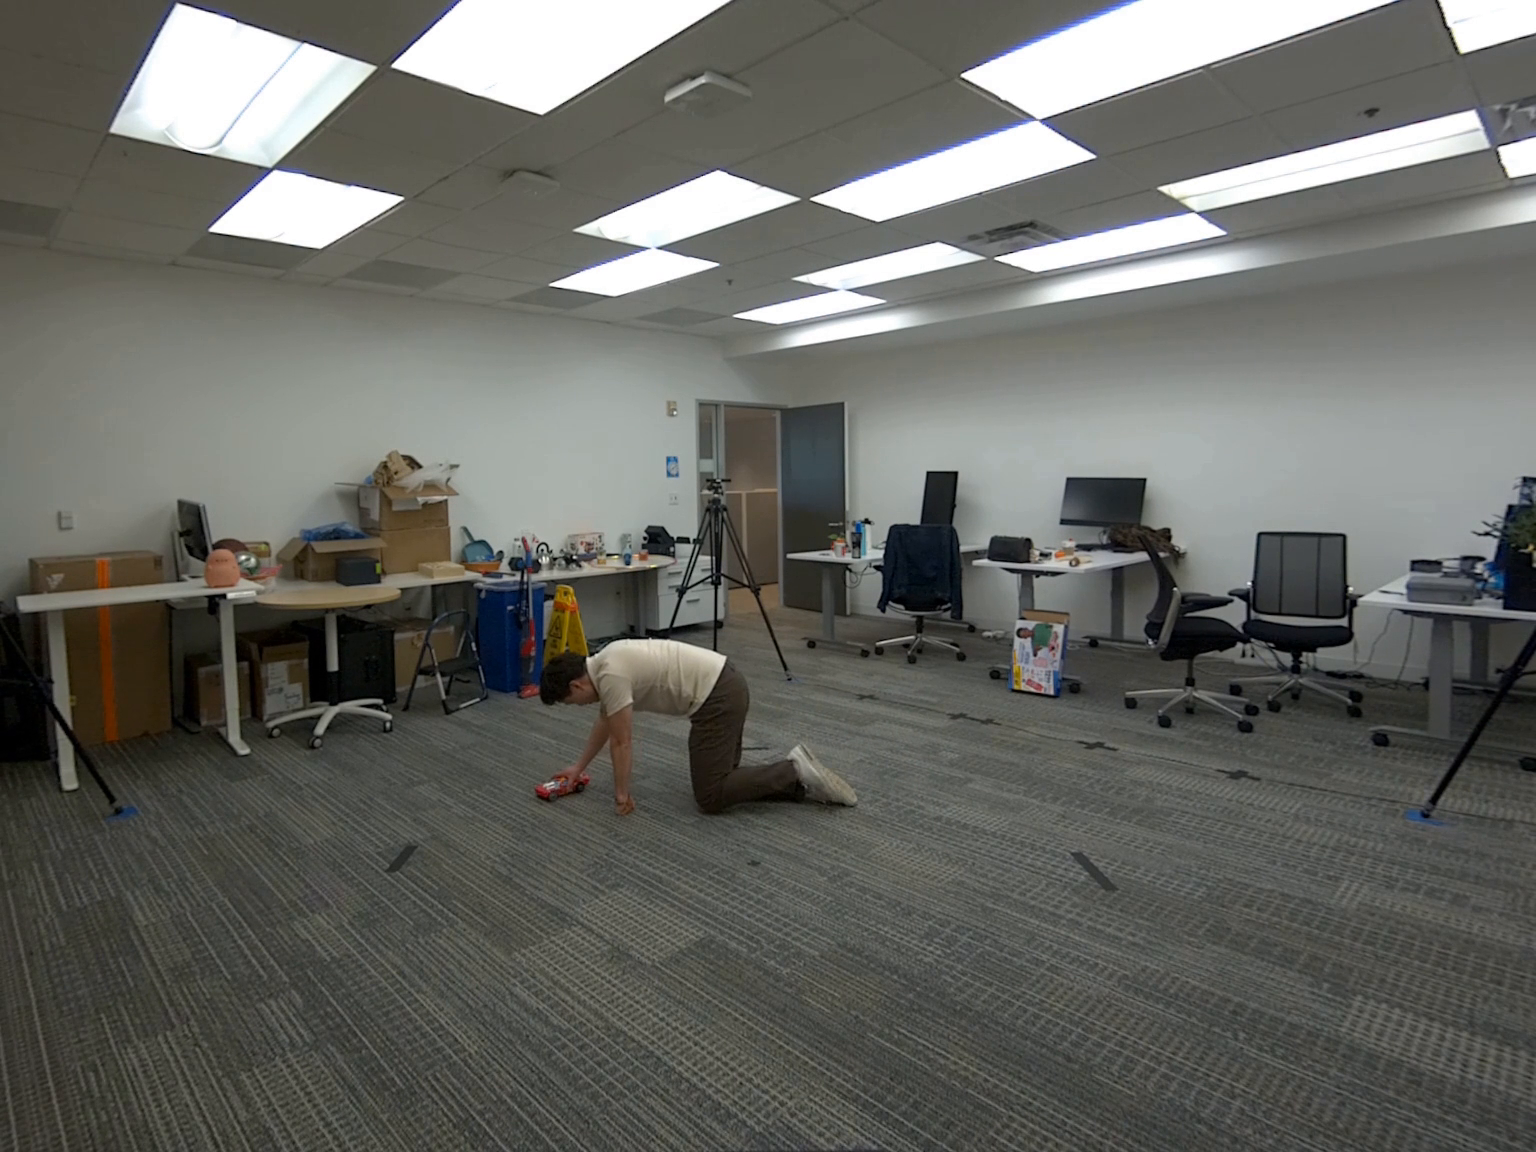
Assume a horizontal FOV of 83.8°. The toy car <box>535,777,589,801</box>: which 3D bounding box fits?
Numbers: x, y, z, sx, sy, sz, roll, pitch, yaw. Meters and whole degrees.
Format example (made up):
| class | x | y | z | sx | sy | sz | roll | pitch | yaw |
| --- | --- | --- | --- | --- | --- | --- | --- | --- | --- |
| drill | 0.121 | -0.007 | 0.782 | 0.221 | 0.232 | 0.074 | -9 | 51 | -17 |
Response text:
| class | x | y | z | sx | sy | sz | roll | pitch | yaw |
| --- | --- | --- | --- | --- | --- | --- | --- | --- | --- |
| toy car | -0.920 | 0.949 | 3.862 | 0.134 | 0.082 | 0.250 | 2 | 16 | 45 |
